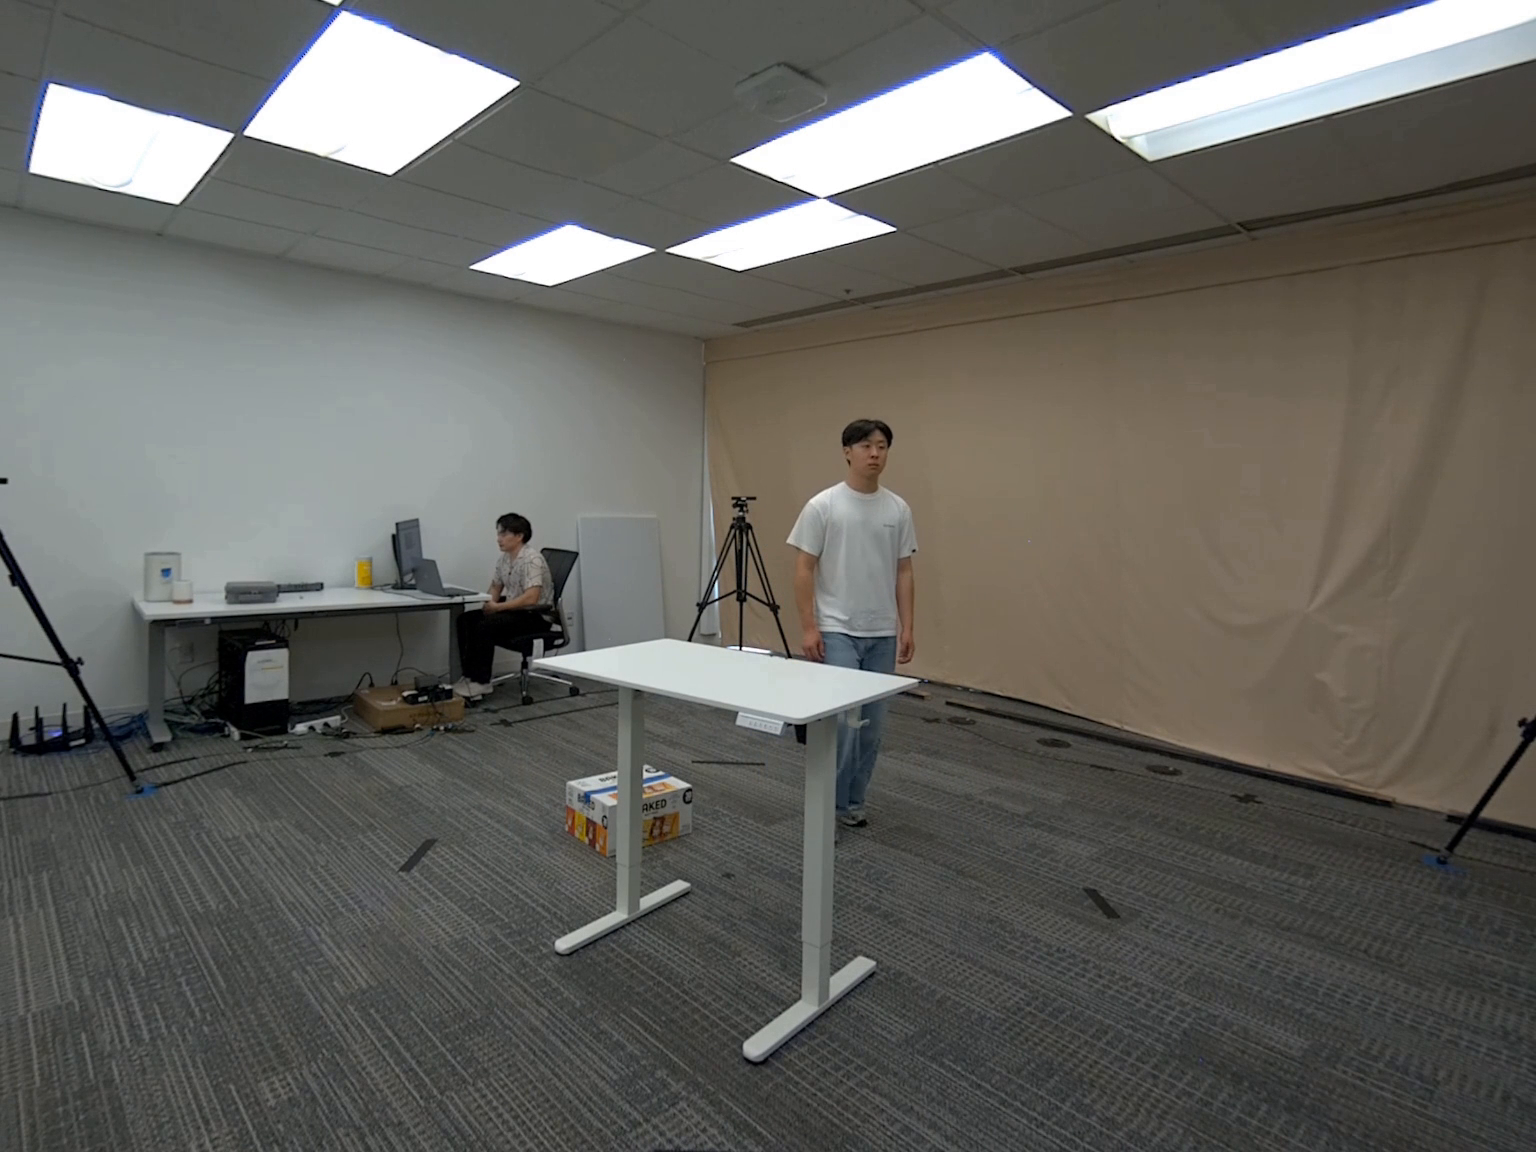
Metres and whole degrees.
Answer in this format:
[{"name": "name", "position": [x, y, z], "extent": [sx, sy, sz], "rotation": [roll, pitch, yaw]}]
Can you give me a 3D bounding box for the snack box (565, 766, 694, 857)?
[{"name": "snack box", "position": [-0.583, 0.961, 3.480], "extent": [0.396, 0.205, 0.349], "rotation": [-3, 6, -41]}]
